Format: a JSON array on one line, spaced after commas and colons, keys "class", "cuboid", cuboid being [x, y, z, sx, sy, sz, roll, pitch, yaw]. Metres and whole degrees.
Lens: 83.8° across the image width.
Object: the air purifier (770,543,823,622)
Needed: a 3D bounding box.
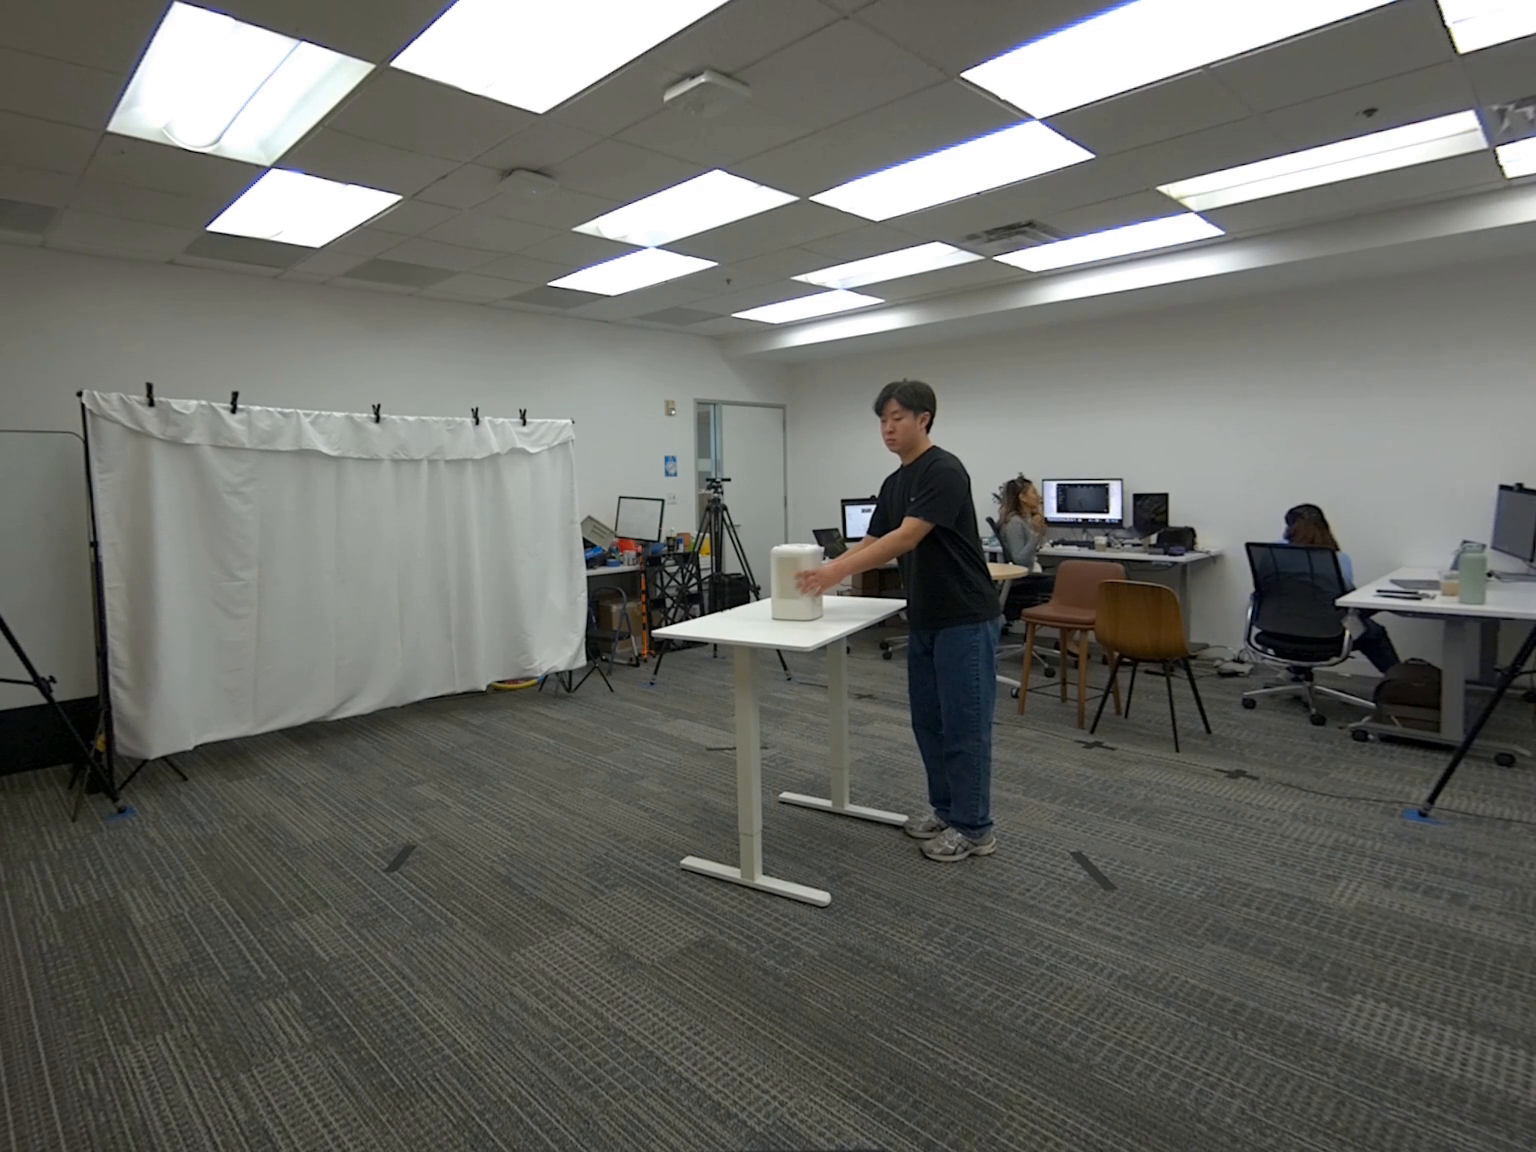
[{"class": "air purifier", "cuboid": [0.113, 0.018, 3.135, 0.175, 0.264, 0.168, 0, 4, 23]}]
